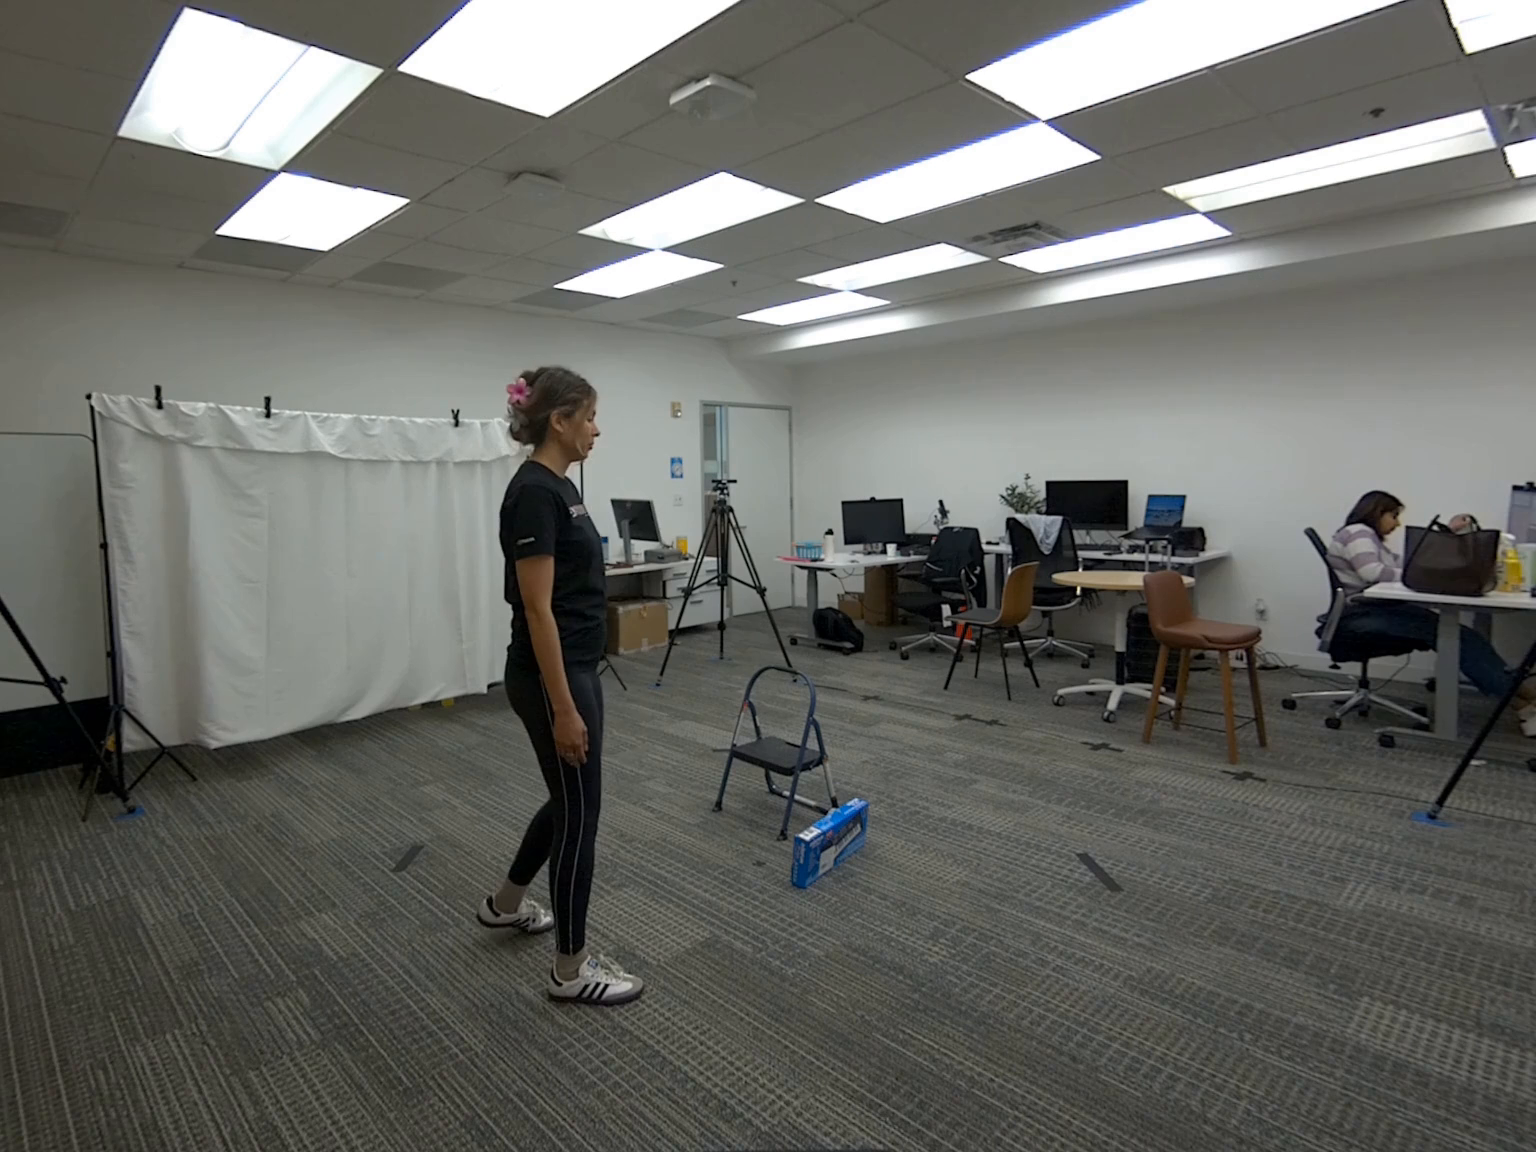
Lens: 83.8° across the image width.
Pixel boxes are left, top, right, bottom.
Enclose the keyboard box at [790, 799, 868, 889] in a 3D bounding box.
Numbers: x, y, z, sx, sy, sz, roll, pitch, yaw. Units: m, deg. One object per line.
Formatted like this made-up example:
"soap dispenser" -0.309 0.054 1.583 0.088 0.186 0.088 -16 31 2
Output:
"keyboard box" 0.232 0.959 3.088 0.061 0.175 0.426 8 10 34
